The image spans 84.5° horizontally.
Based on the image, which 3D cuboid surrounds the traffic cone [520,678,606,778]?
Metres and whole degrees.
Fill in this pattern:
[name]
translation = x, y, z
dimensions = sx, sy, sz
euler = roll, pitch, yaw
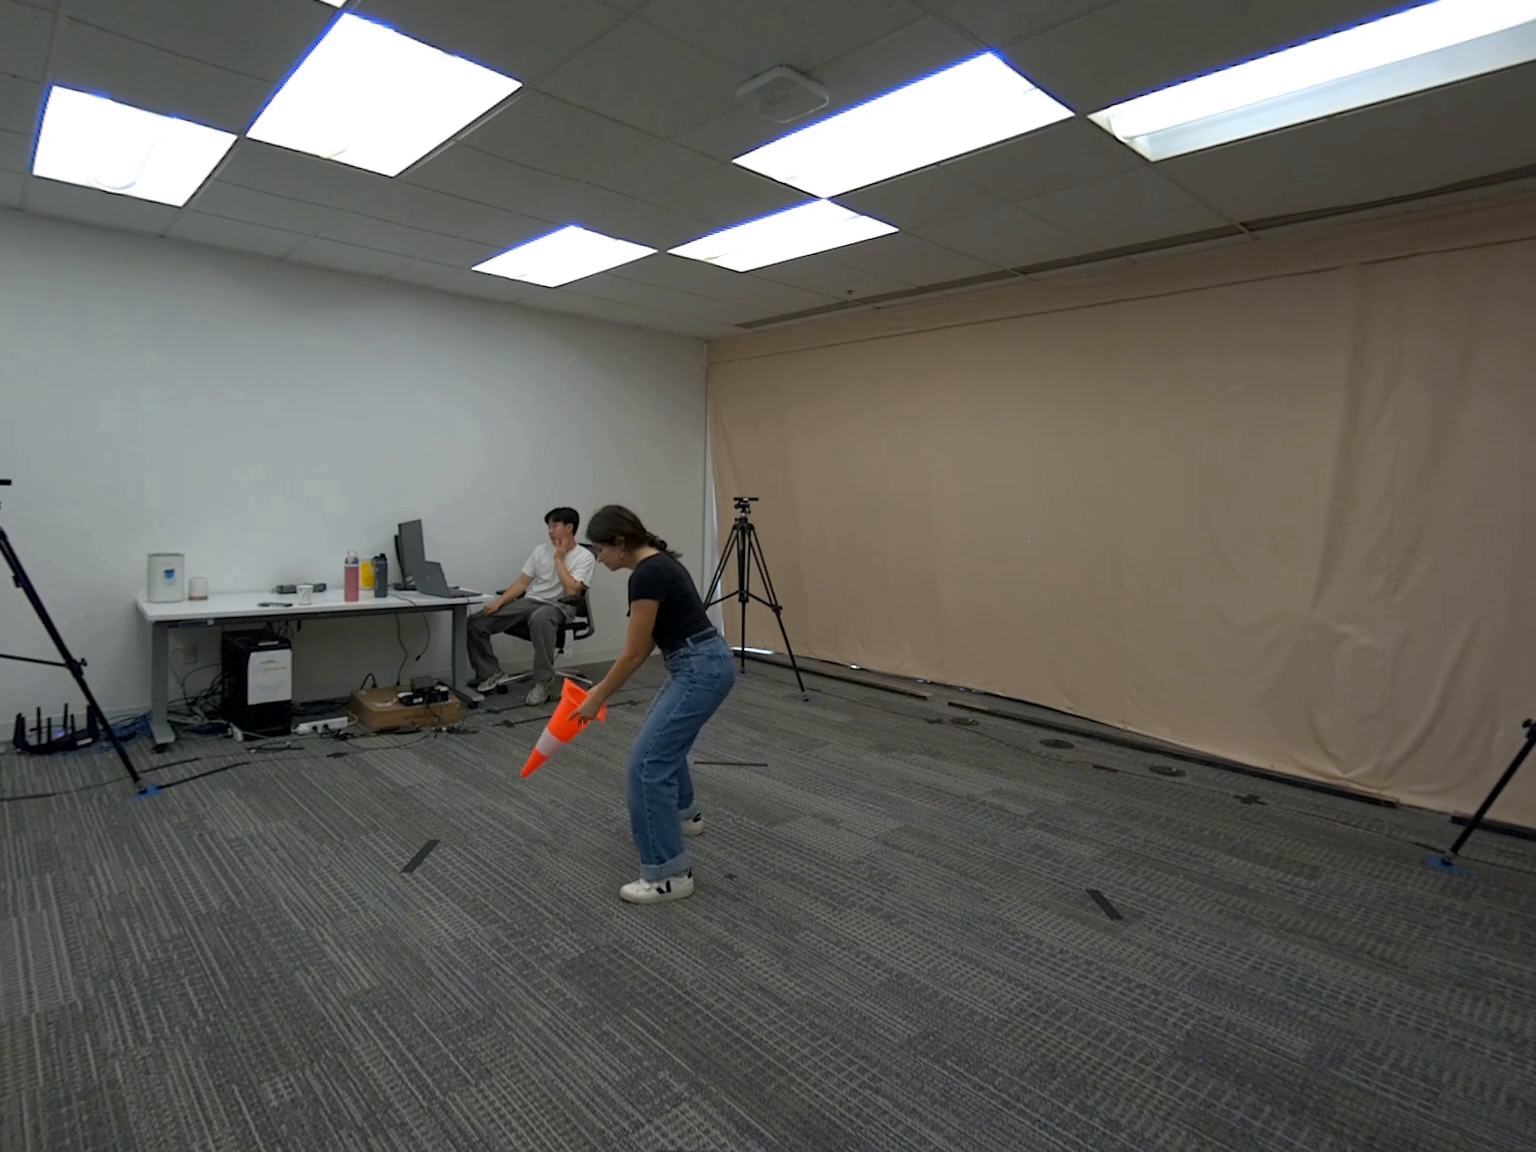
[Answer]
[traffic cone]
translation = -0.828, 0.624, 3.233
dimensions = 0.201, 0.383, 0.207
euler = 39, 0, -20
